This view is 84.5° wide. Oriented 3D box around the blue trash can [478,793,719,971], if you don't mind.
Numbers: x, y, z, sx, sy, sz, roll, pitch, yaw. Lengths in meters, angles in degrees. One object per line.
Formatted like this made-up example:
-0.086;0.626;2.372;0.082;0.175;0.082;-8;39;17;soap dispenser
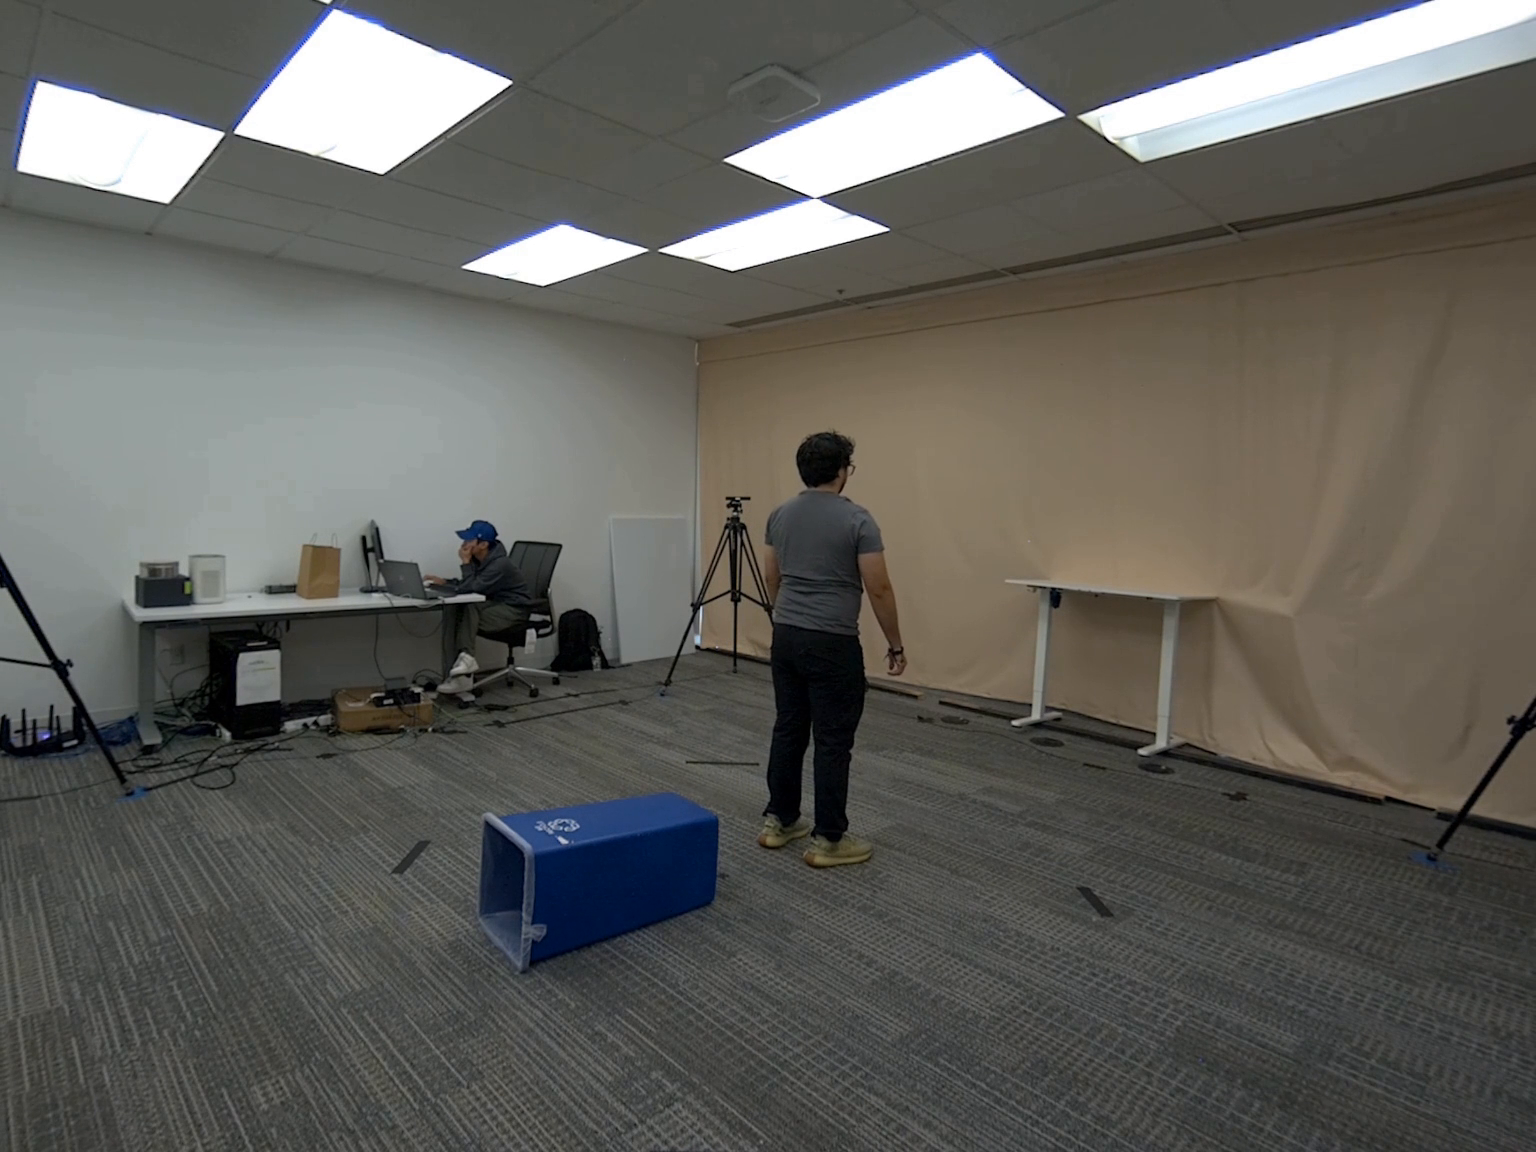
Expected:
-0.549;0.950;2.782;0.697;0.373;0.387;0;4;-39;blue trash can
